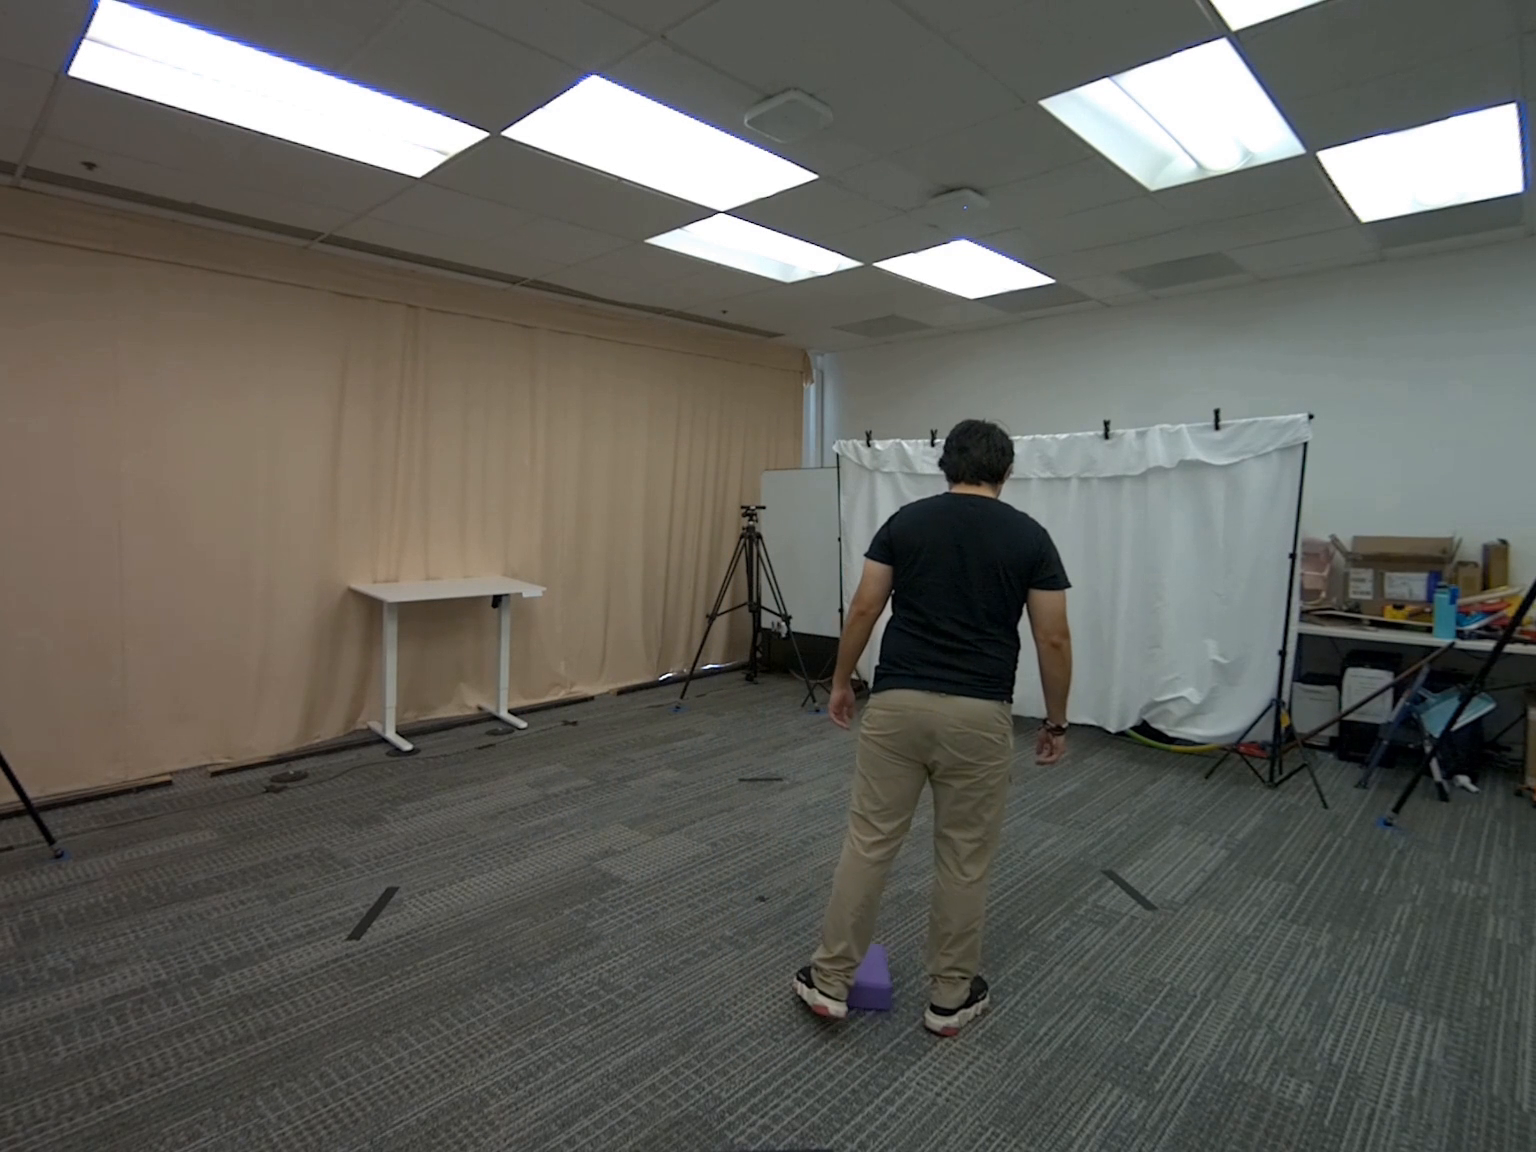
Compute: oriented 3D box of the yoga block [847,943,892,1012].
[{"bbox_3d":[0.276,1.151,2.426,0.150,0.076,0.228,0,4,6],"label":"yoga block"}]
